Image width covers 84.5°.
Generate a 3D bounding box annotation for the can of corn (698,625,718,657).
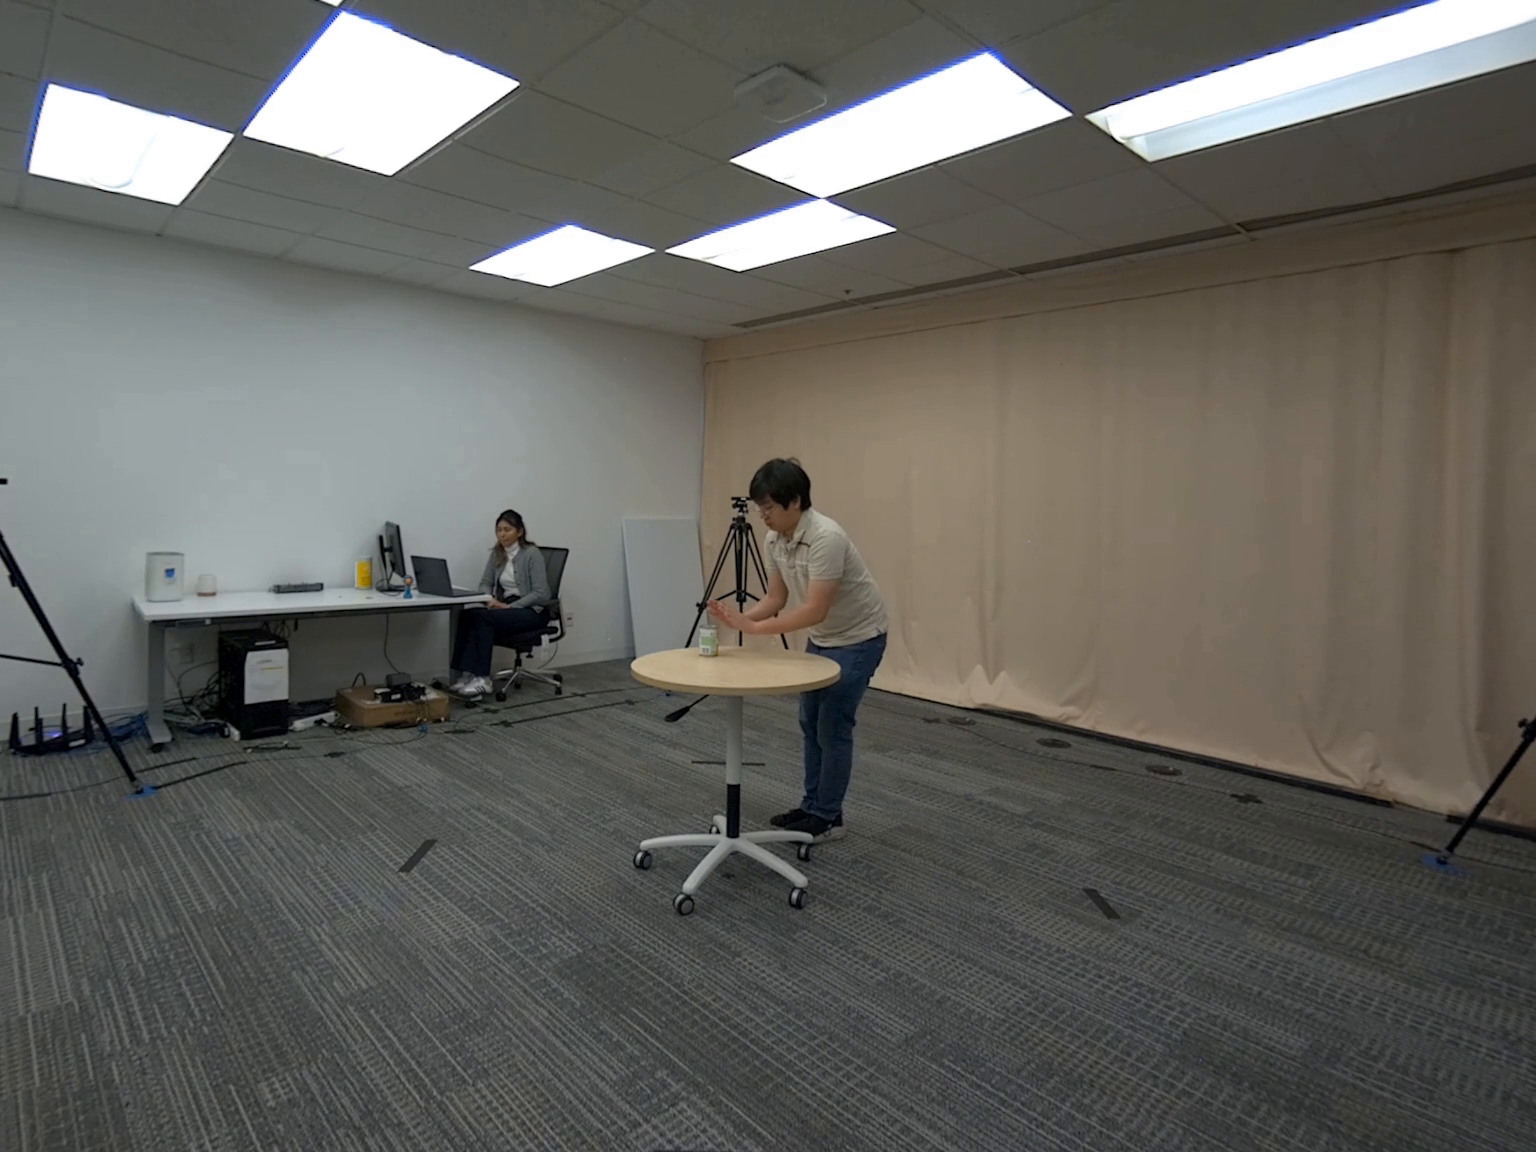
[{"bbox_3d":[-0.242,0.255,3.263,0.074,0.111,0.074,1,4,-1],"label":"can of corn"}]
